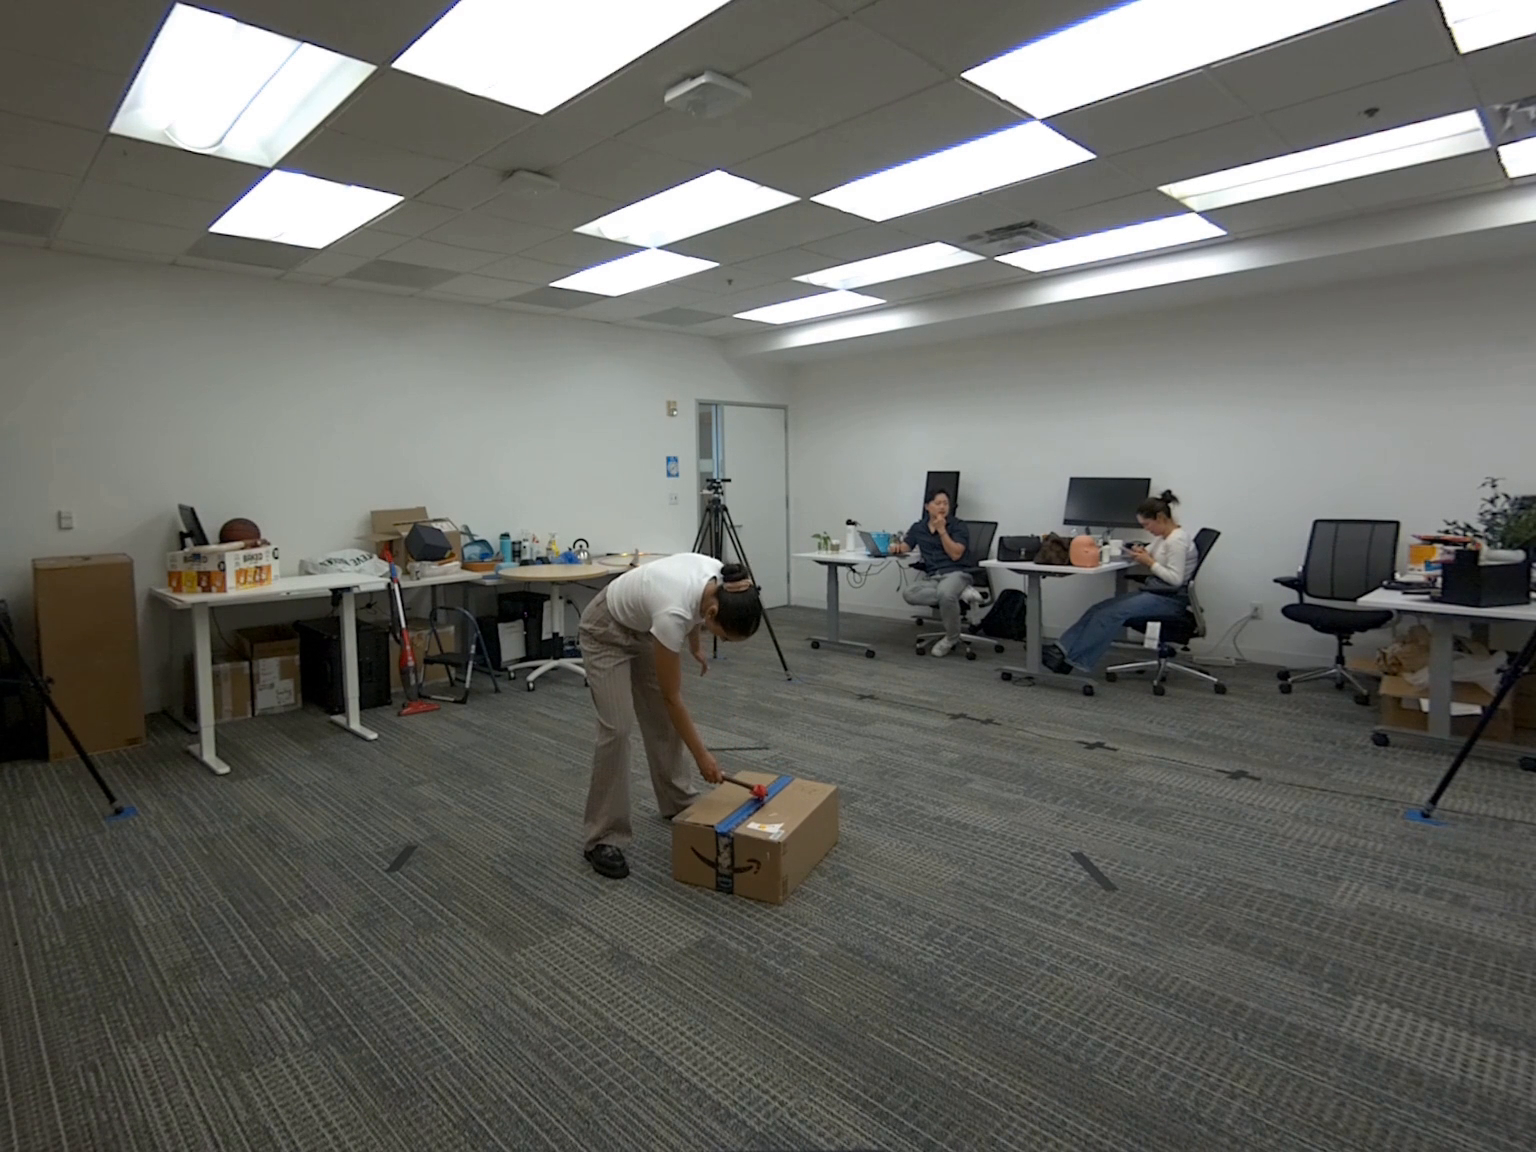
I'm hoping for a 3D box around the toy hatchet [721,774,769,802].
[{"bbox_3d":[-0.114,0.776,3.158,0.278,0.030,0.126,2,-33,34],"label":"toy hatchet"}]
